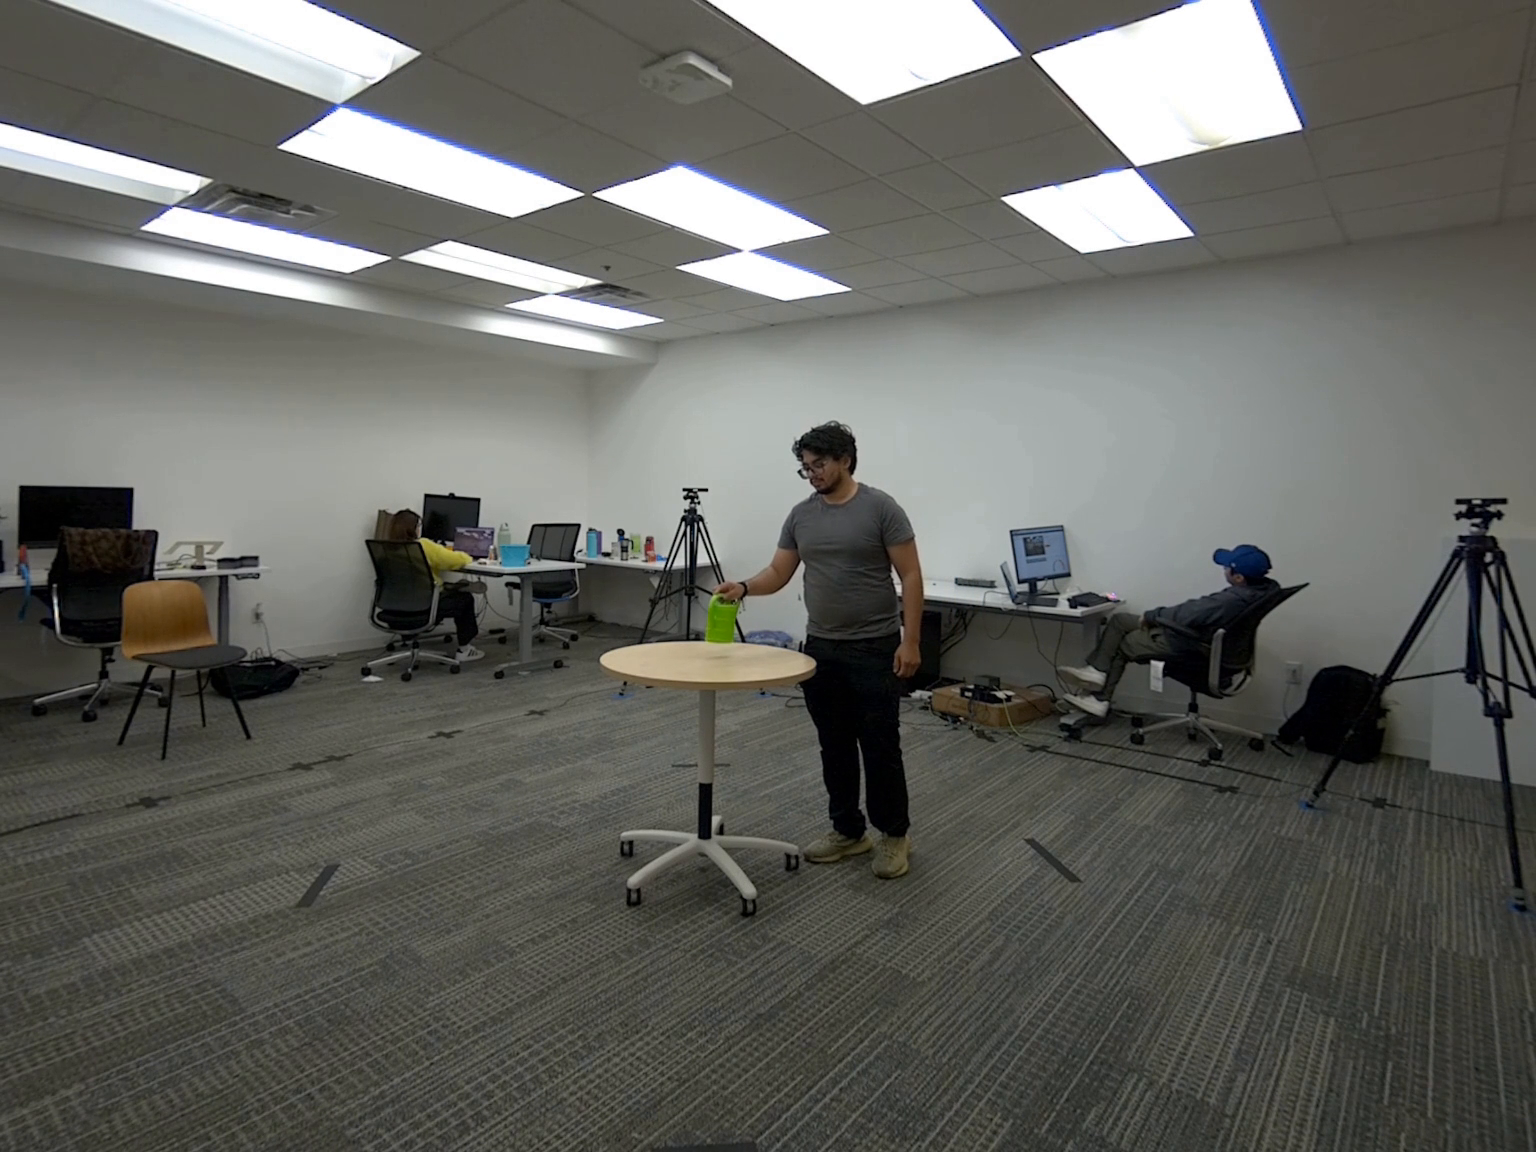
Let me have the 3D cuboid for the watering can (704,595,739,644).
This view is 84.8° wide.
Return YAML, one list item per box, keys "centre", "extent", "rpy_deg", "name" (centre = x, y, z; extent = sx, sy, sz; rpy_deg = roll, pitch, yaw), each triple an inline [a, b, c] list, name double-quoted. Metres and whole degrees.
- centre: [-0.146, 0.149, 3.109]
  extent: [0.101, 0.177, 0.269]
  rpy_deg: [3, 0, 39]
  name: "watering can"
